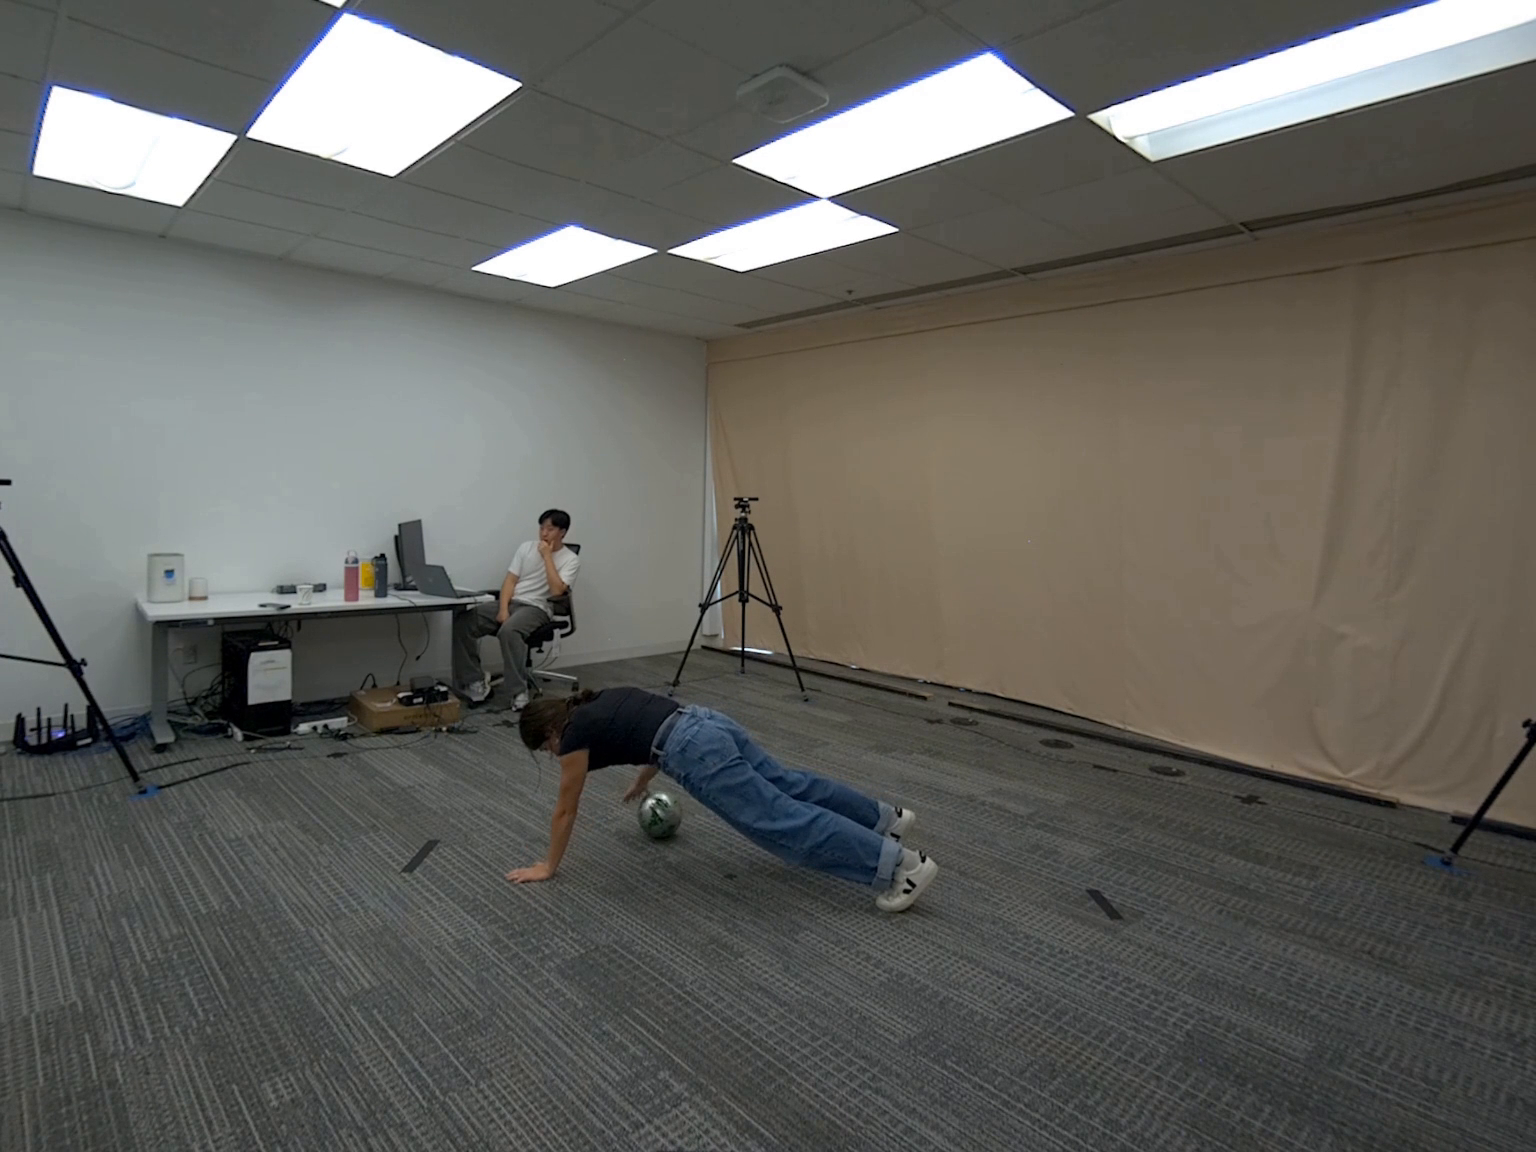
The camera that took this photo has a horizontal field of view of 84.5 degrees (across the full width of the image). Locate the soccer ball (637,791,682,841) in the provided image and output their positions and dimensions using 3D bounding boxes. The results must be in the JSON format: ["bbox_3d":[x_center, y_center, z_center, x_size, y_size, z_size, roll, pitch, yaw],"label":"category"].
[{"bbox_3d":[-0.447,0.983,3.441,0.187,0.187,0.188,1,4,-1],"label":"soccer ball"}]
